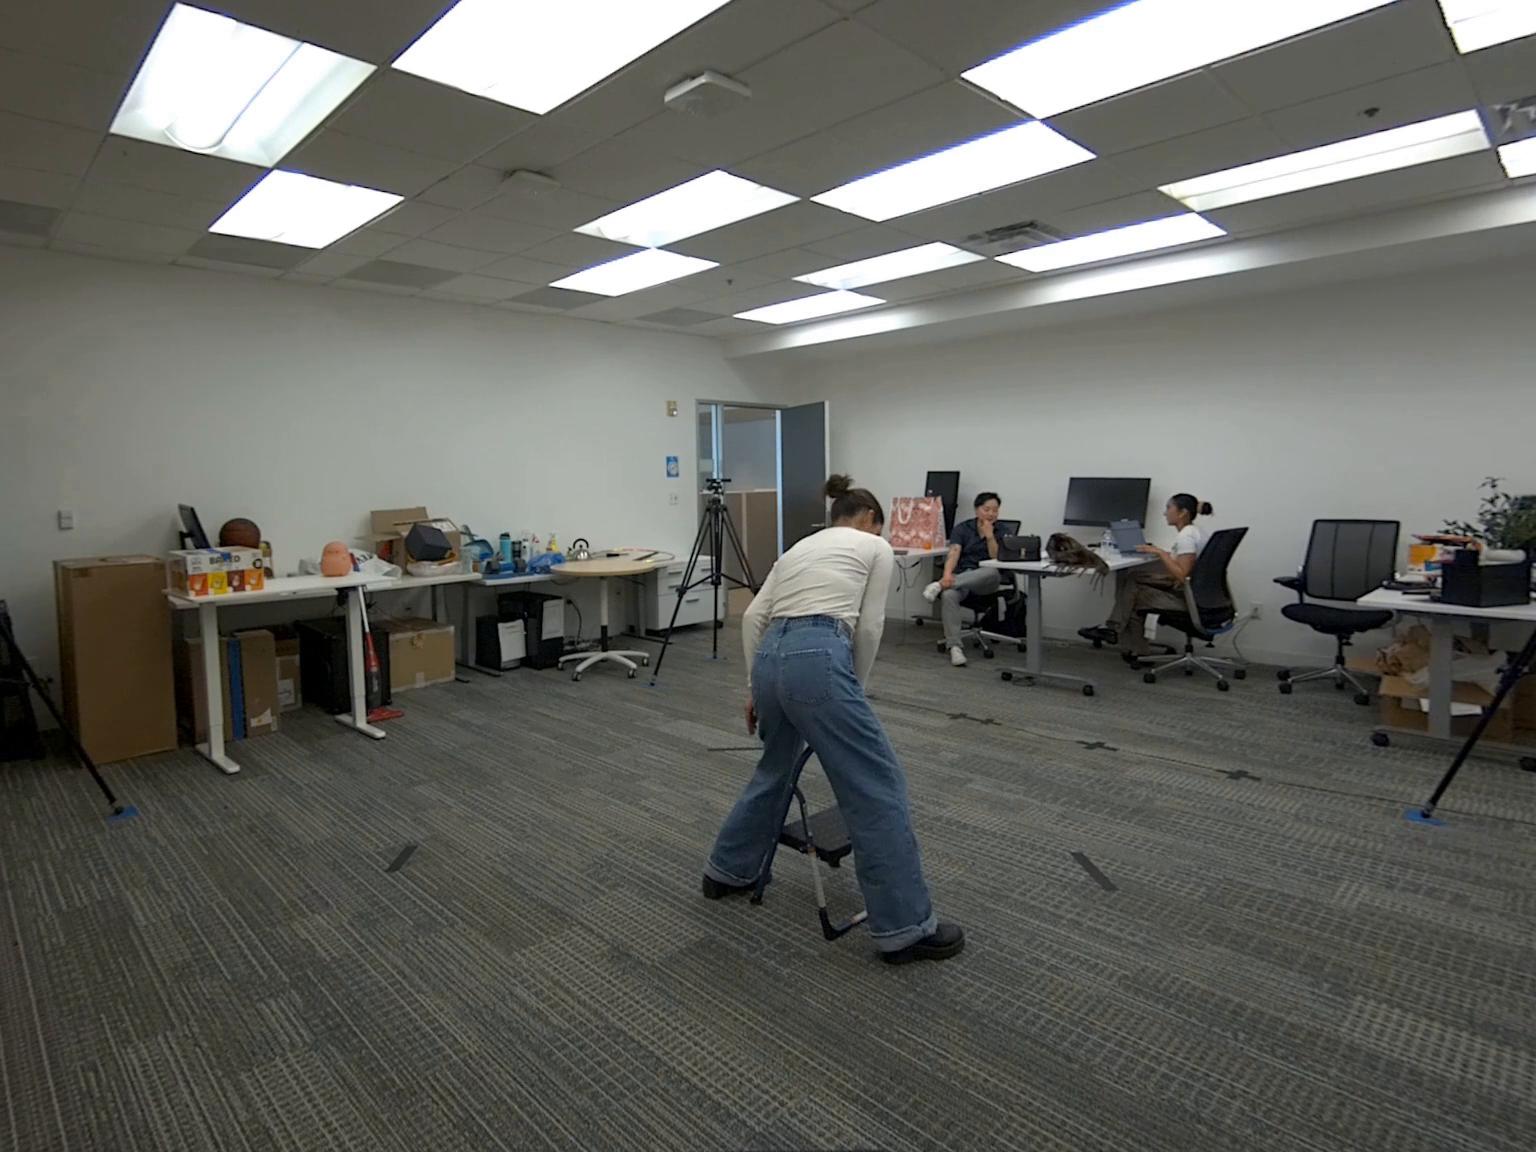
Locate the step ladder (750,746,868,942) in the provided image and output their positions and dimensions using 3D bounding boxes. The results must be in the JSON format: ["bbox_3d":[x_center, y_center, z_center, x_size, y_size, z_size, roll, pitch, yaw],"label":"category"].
[{"bbox_3d":[0.212,0.773,2.812,0.419,0.604,0.360,-5,6,-44],"label":"step ladder"}]
